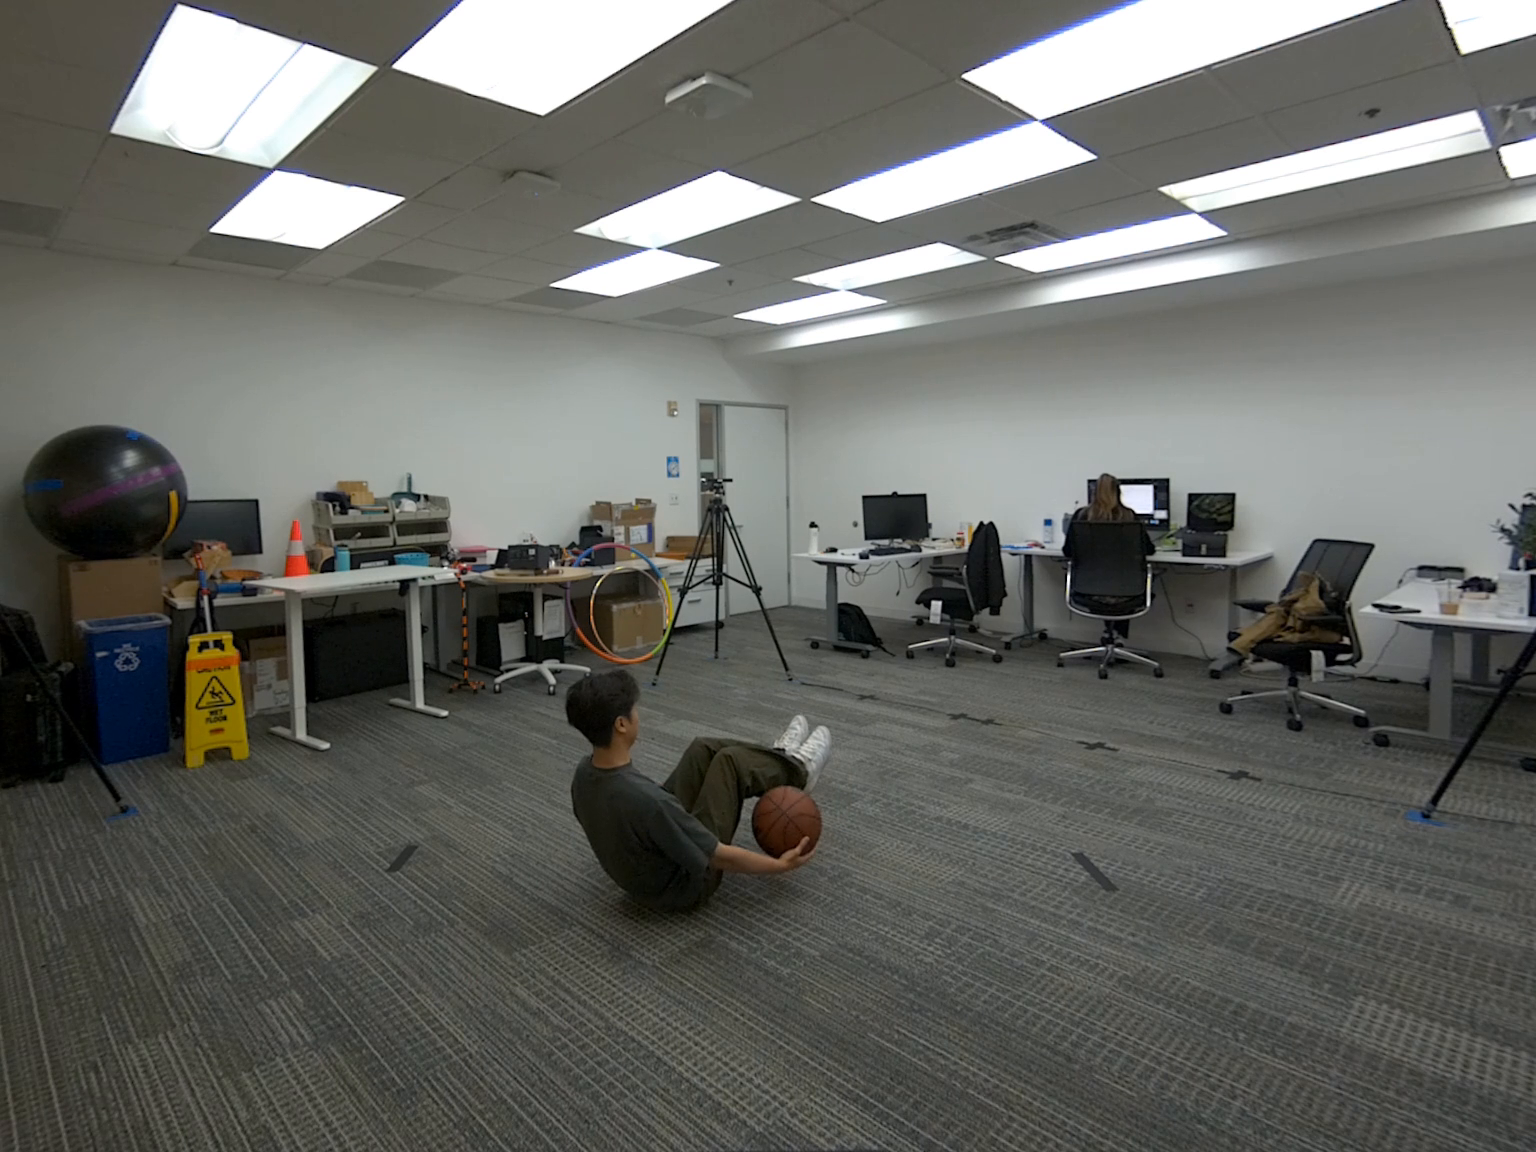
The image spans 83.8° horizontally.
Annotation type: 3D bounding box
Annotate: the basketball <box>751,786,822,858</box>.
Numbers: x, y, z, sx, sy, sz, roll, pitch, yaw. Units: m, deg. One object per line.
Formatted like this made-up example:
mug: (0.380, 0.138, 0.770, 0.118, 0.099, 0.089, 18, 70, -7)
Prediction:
basketball: (0.053, 0.828, 2.891, 0.236, 0.235, 0.237, -1, 5, -2)
